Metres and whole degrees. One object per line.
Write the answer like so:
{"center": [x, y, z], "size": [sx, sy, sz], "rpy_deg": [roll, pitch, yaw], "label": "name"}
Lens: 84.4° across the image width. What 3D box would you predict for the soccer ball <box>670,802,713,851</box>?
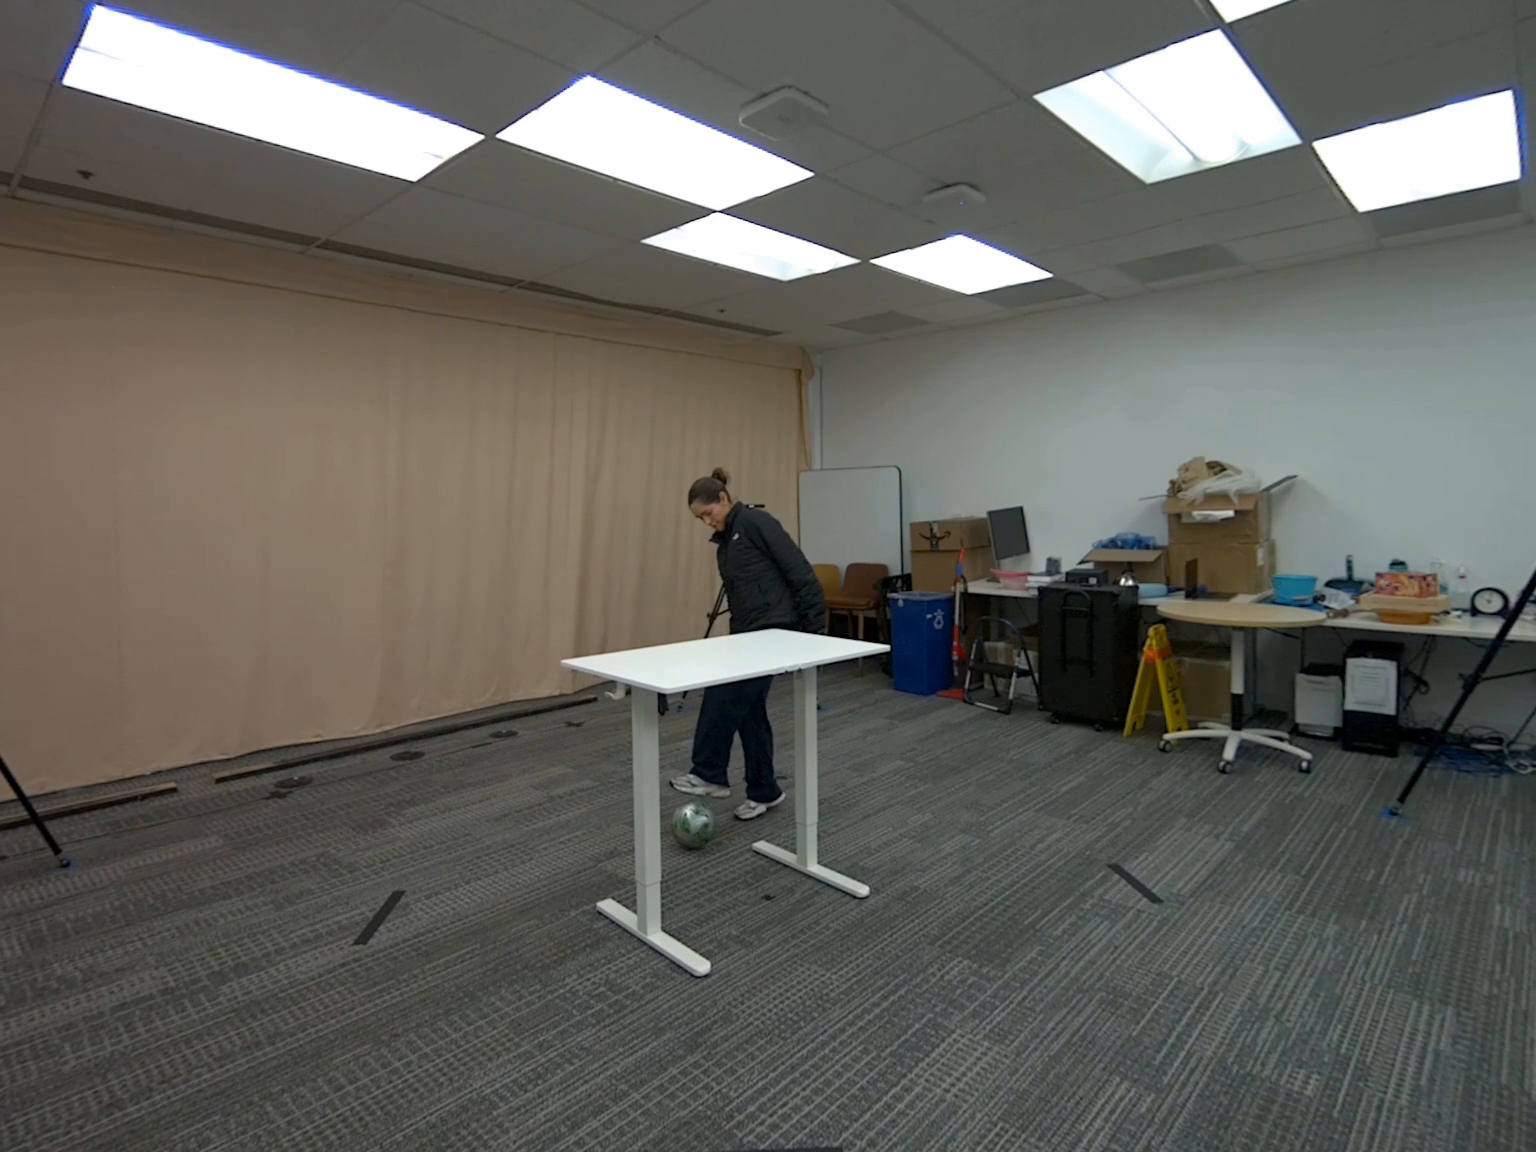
{"center": [-0.307, 1.010, 3.433], "size": [0.187, 0.187, 0.188], "rpy_deg": [-1, 4, -2], "label": "soccer ball"}
